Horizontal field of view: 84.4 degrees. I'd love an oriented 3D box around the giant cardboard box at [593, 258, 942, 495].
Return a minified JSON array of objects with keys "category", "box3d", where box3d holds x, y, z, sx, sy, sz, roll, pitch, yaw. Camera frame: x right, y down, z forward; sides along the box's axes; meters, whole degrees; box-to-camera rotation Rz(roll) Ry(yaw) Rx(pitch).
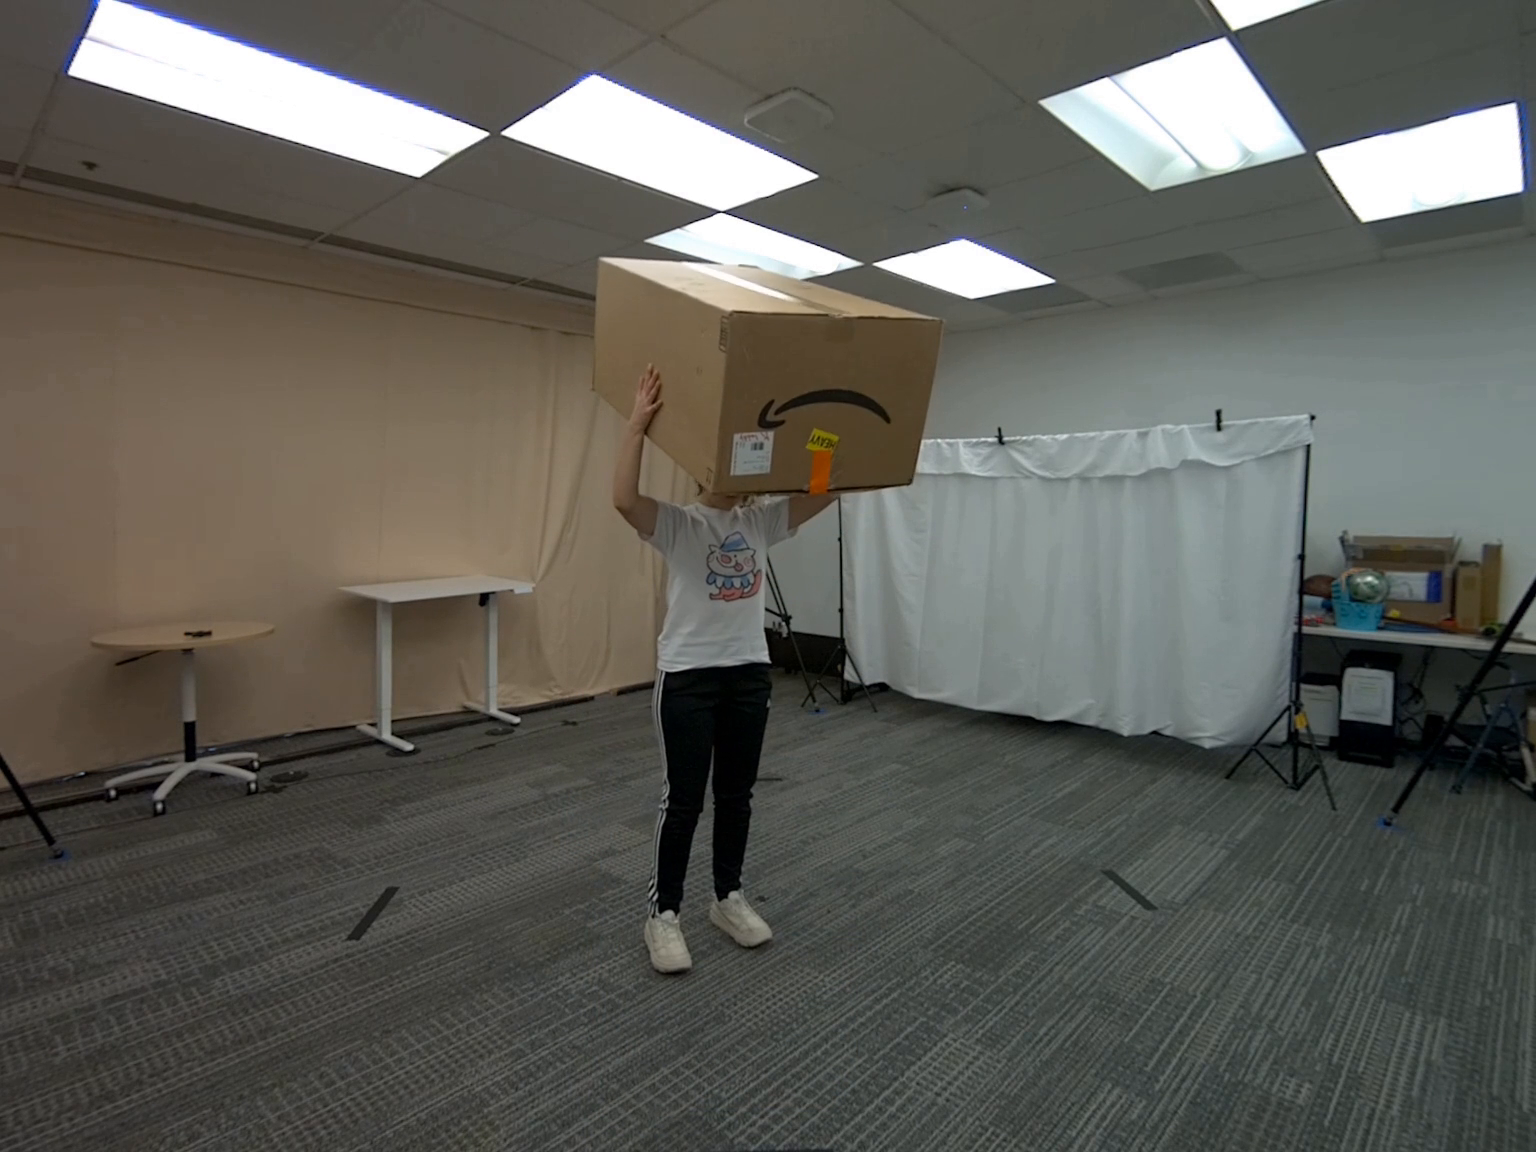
[{"category":"giant cardboard box","box3d":[-0.076,-0.613,2.407,0.570,0.442,1.062,-4,26,-26]}]
